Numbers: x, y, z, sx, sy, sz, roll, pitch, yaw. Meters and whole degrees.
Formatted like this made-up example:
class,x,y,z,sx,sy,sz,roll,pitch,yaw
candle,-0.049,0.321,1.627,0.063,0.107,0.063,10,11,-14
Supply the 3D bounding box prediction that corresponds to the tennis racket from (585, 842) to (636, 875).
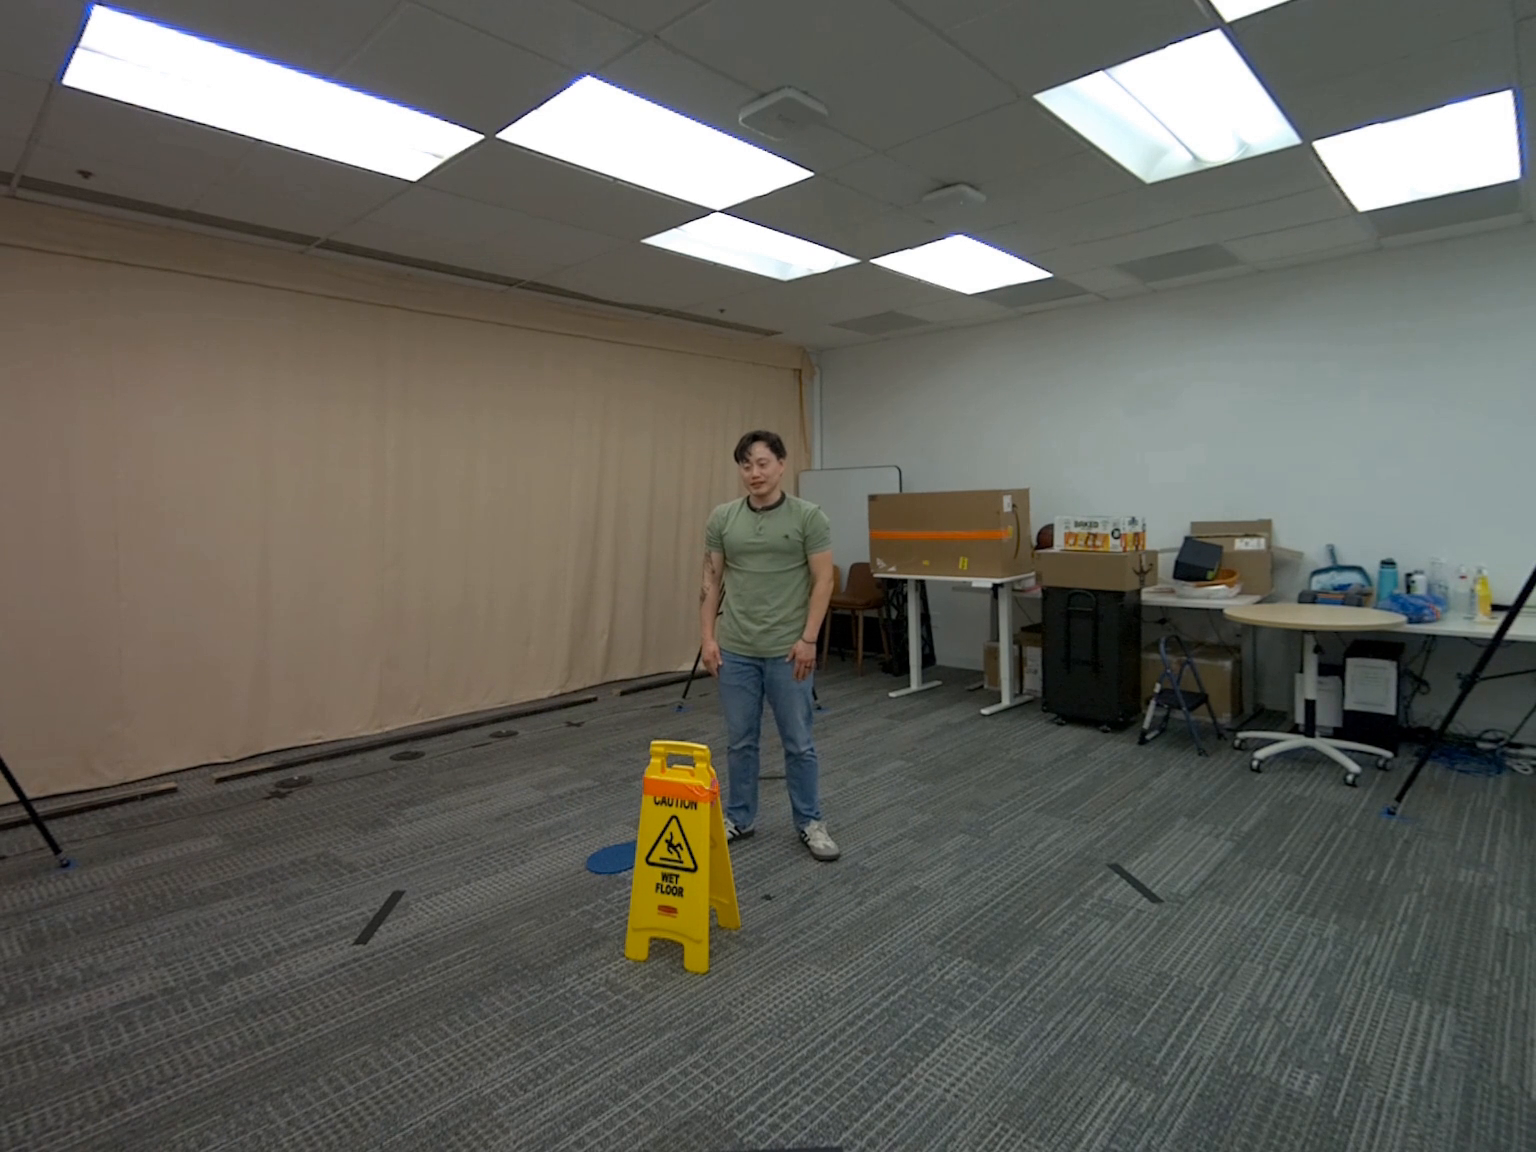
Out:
class,x,y,z,sx,sy,sz,roll,pitch,yaw
tennis racket,-0.558,1.102,3.394,0.220,0.031,0.422,2,8,31
